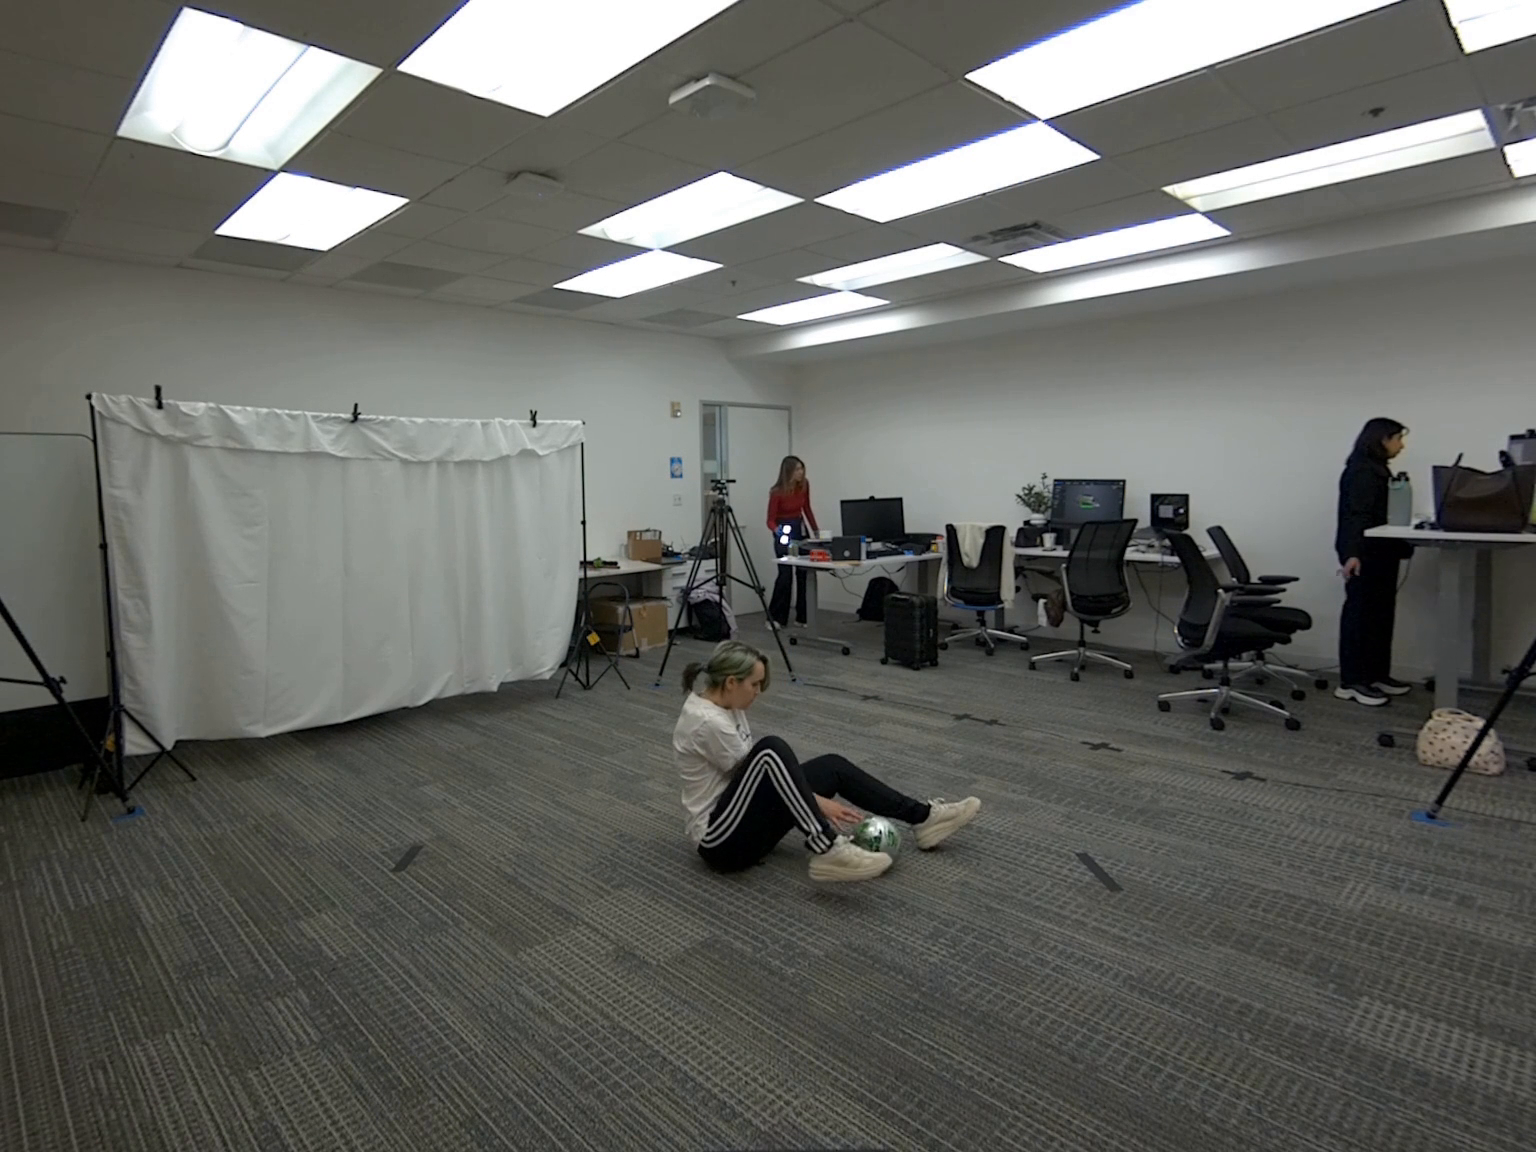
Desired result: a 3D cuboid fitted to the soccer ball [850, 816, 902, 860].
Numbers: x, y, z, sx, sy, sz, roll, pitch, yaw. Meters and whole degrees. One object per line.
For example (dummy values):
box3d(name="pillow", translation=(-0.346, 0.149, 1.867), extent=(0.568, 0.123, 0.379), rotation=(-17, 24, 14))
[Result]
box3d(name="soccer ball", translation=(0.377, 0.950, 3.043), extent=(0.187, 0.187, 0.188), rotation=(-1, 5, -2))
